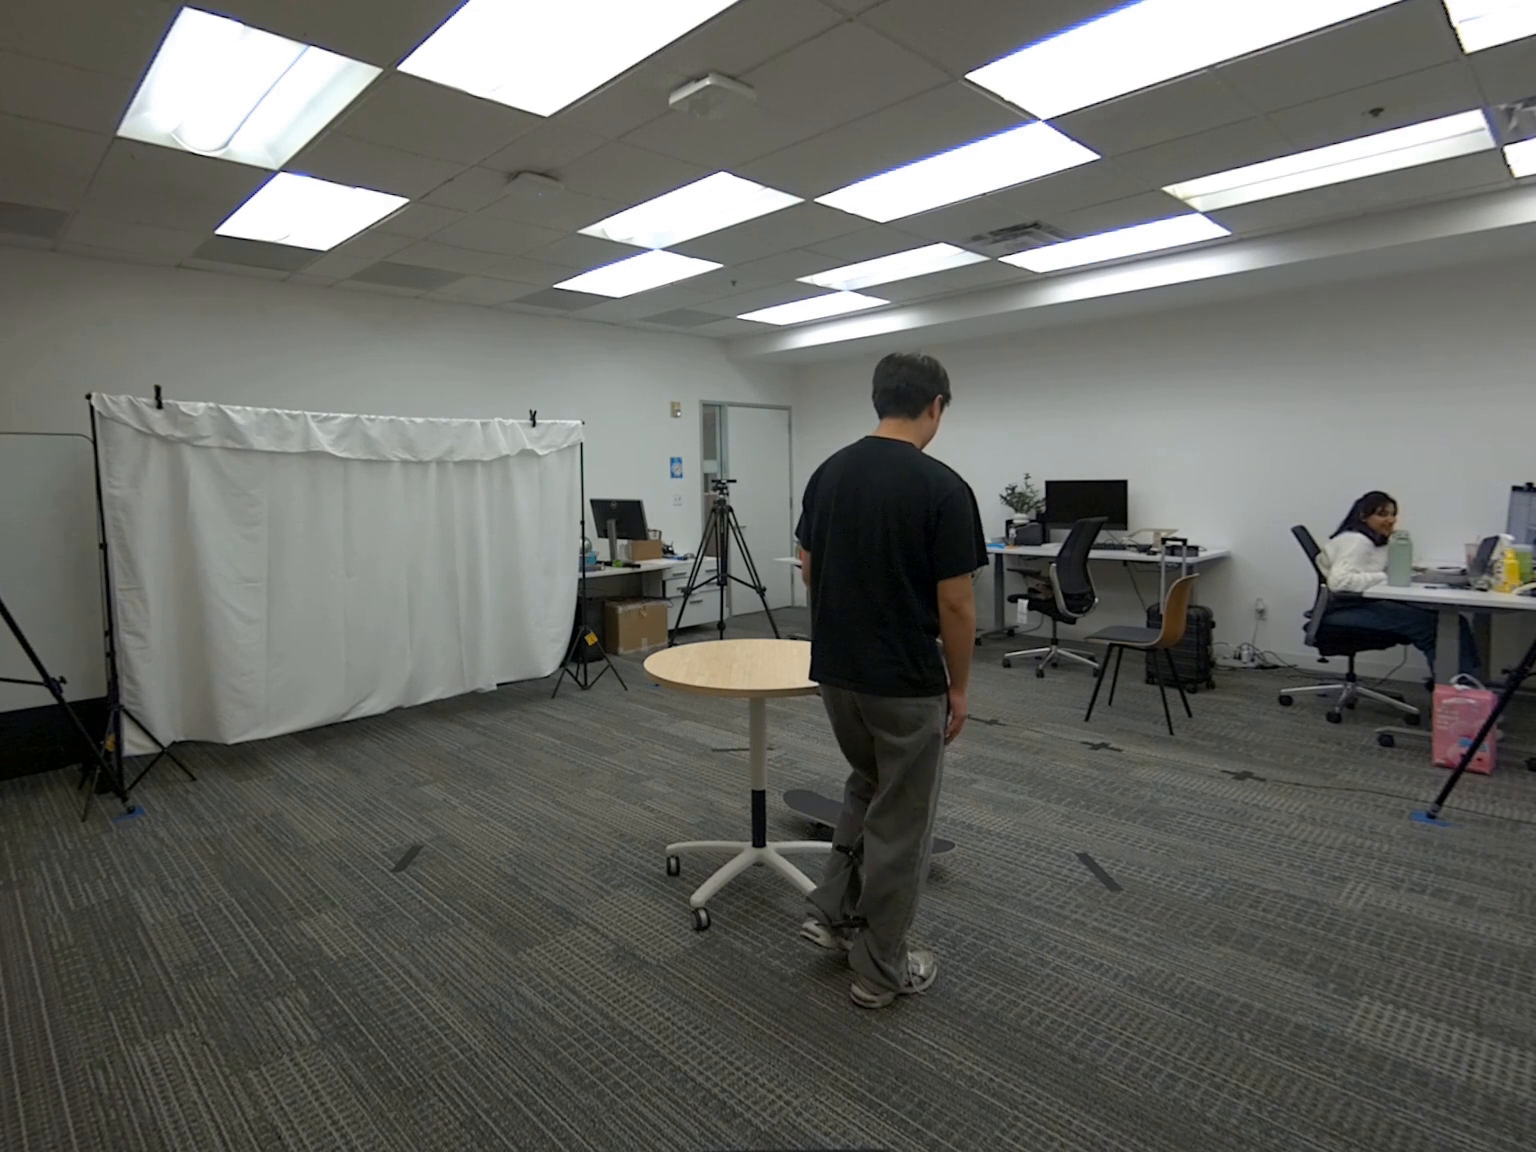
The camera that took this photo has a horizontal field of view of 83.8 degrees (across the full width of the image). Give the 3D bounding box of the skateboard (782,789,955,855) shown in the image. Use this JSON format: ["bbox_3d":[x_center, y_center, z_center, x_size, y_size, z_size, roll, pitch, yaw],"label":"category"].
[{"bbox_3d":[0.368,0.975,3.240,0.188,0.110,0.810,-7,8,-42],"label":"skateboard"}]
